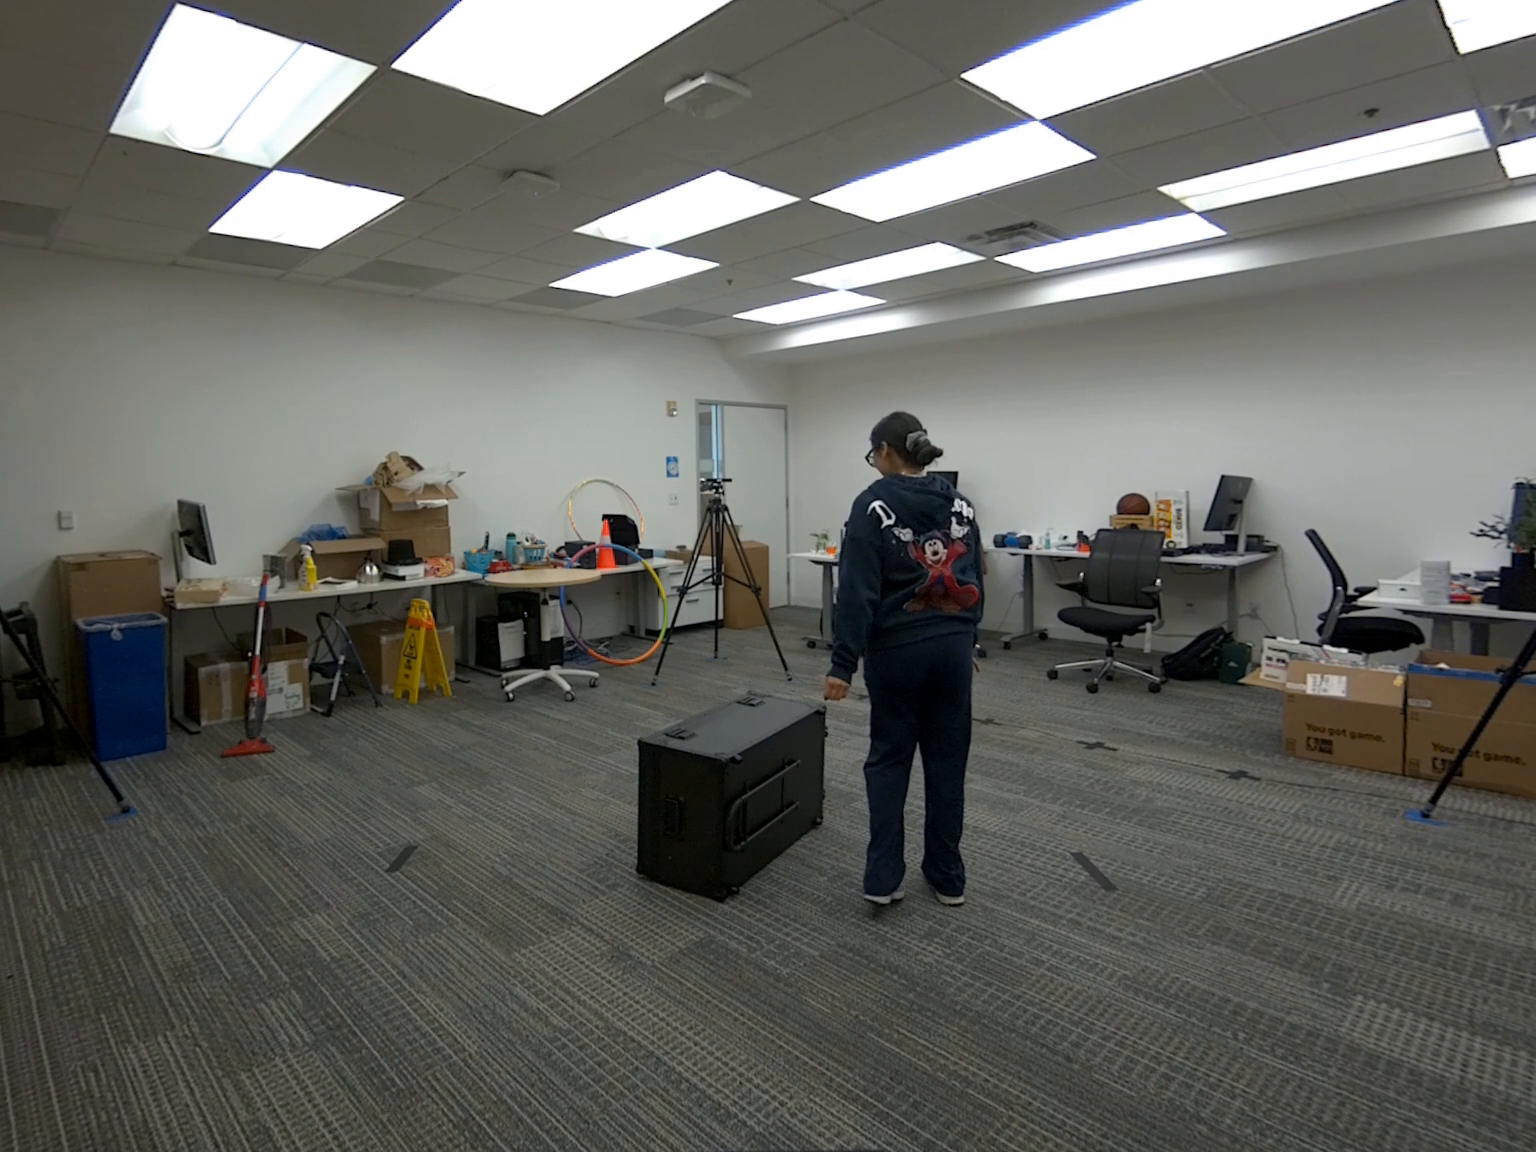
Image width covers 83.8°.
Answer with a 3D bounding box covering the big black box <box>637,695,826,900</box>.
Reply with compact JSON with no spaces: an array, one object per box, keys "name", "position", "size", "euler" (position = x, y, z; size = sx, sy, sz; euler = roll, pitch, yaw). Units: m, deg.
[{"name":"big black box","position":[-0.086,0.774,3.240],"size":[0.407,0.518,0.843],"euler":[5,8,29]}]
